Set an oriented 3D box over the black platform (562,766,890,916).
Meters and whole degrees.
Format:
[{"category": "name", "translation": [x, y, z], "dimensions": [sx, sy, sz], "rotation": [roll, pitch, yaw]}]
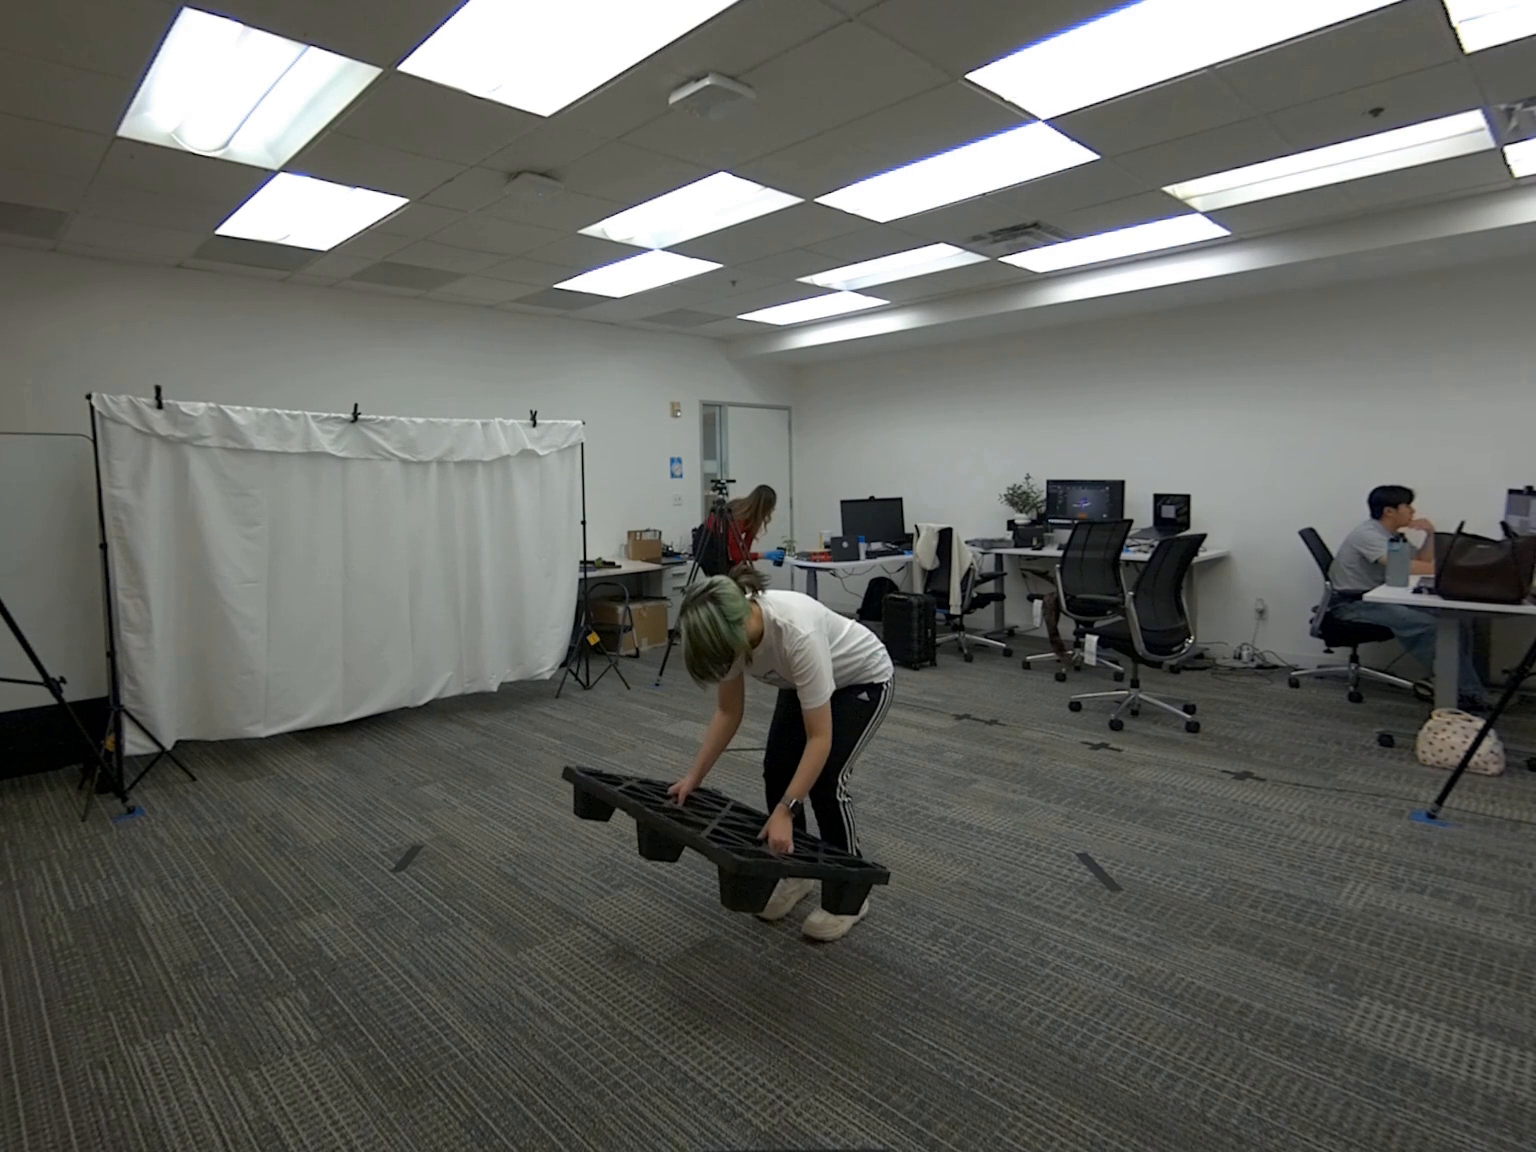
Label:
[{"category": "black platform", "translation": [-0.151, 0.750, 2.413], "dimensions": [0.583, 0.144, 0.831], "rotation": [23, -10, -41]}]
